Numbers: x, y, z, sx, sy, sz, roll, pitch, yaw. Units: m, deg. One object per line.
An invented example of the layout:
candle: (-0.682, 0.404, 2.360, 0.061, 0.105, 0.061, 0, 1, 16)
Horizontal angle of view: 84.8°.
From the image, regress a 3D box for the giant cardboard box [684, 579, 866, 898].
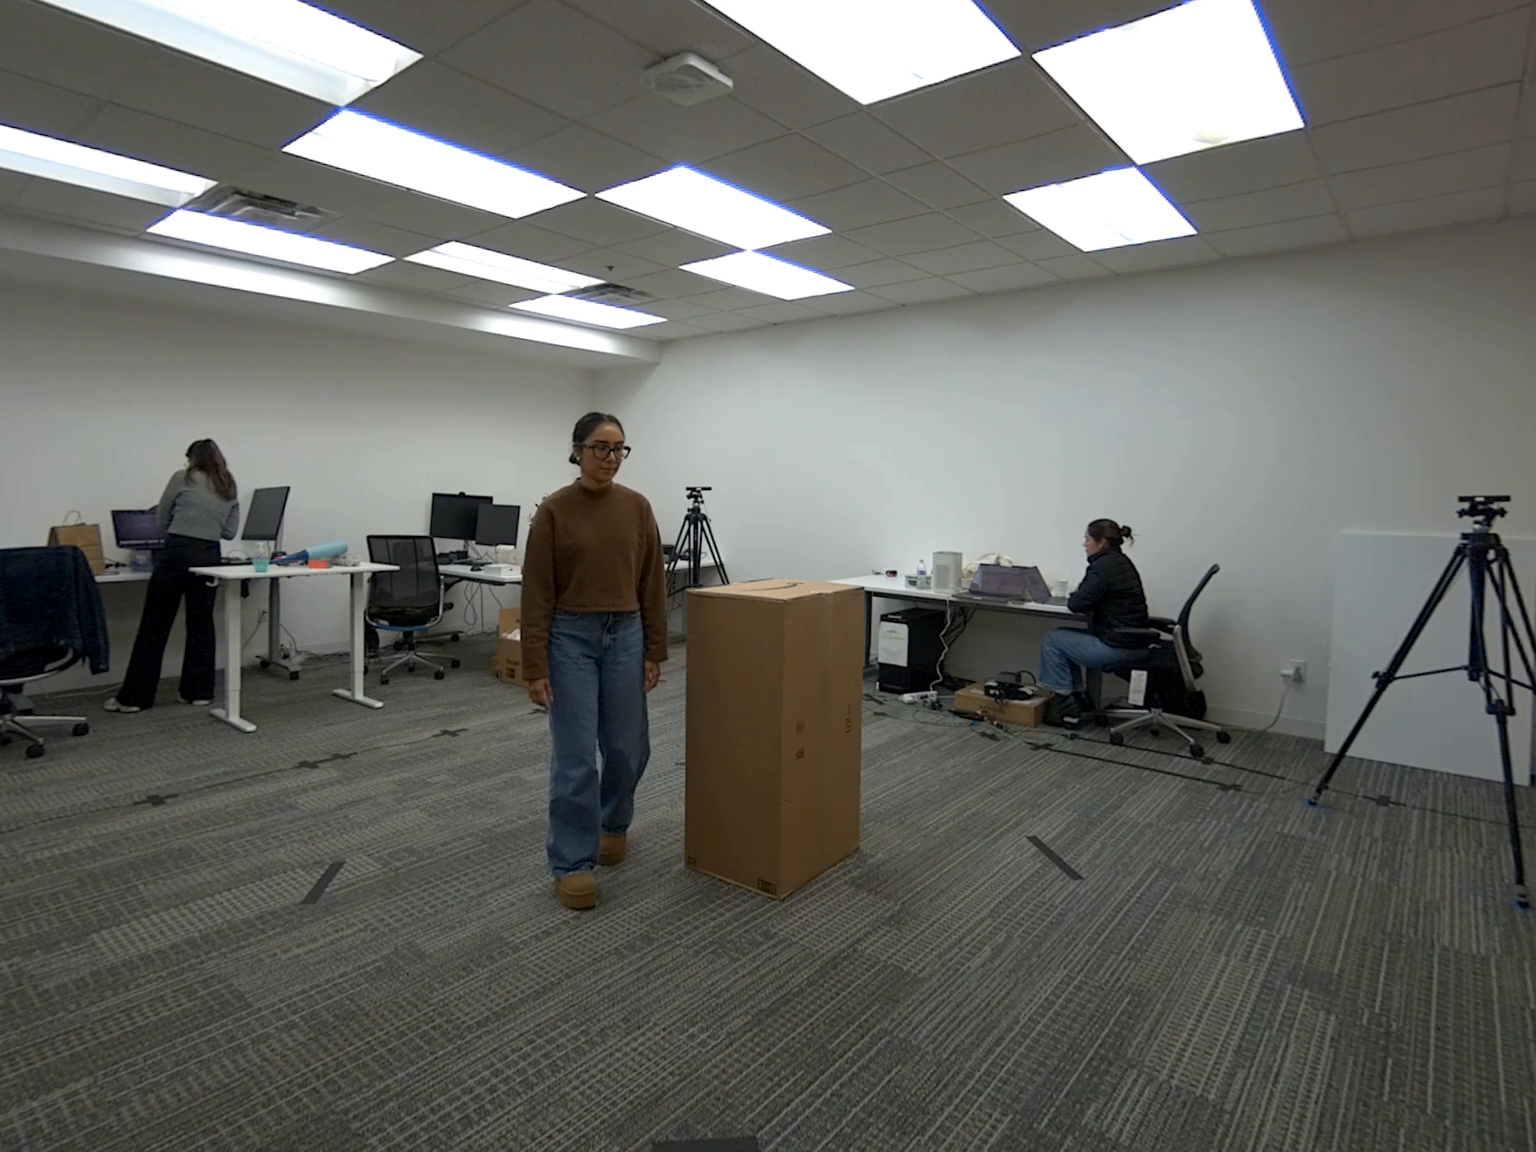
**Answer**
giant cardboard box: (0.020, 0.553, 3.195, 0.440, 1.023, 0.561, 3, 4, 36)
